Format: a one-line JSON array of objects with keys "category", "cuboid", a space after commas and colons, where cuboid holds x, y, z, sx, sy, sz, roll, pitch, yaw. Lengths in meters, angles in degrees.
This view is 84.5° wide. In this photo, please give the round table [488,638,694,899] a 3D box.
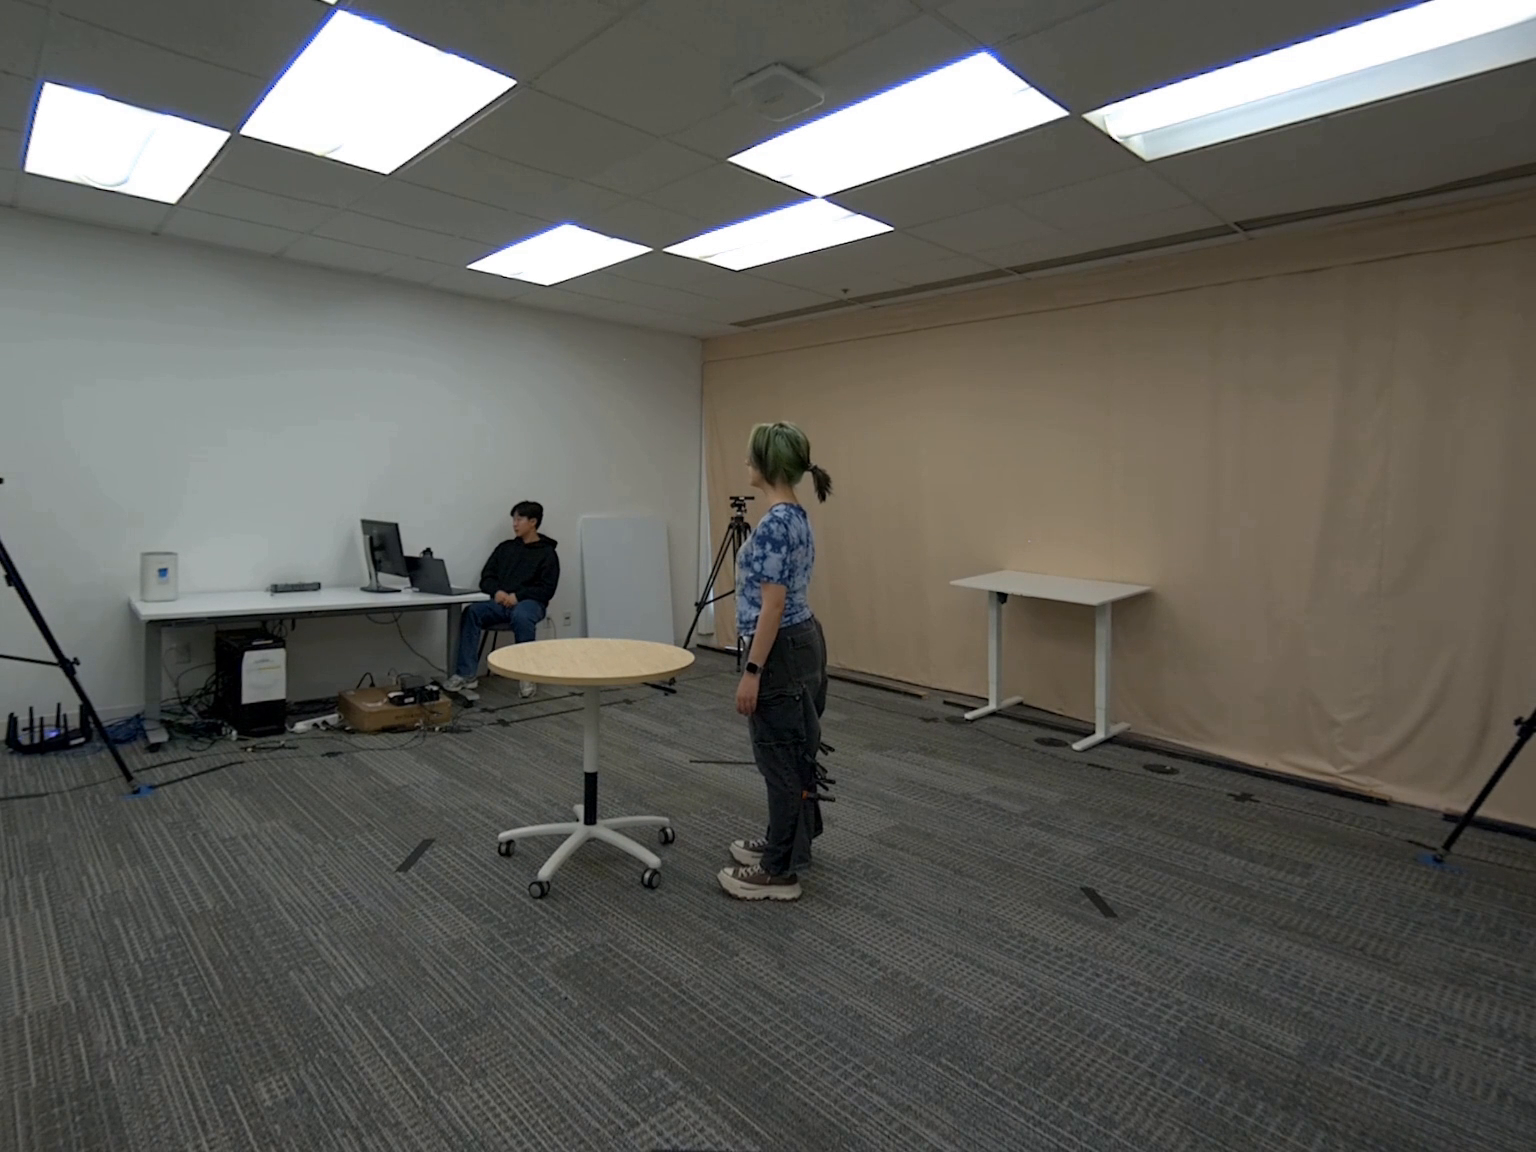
[{"category": "round table", "cuboid": [-0.672, 0.693, 3.195, 0.763, 0.792, 0.767, 2, 4, -1]}]
